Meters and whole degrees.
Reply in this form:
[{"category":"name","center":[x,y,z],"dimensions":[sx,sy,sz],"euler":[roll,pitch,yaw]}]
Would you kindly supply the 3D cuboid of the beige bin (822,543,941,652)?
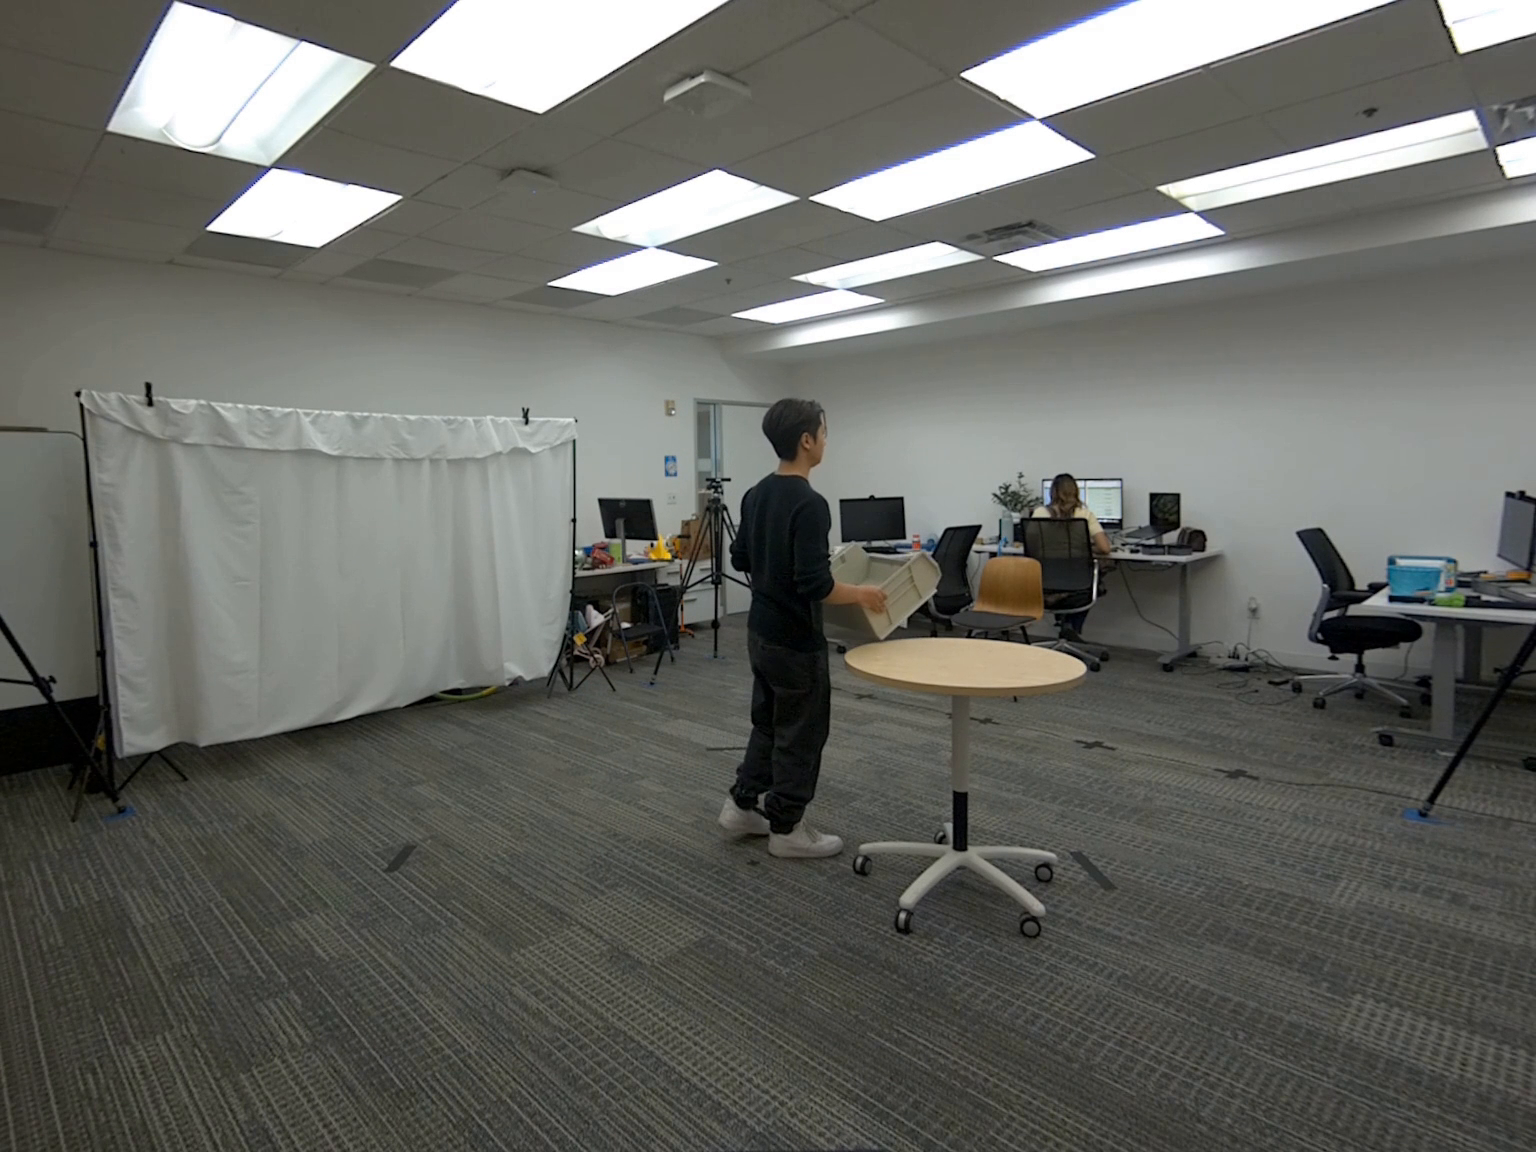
[{"category":"beige bin","center":[0.389,0.039,3.322],"dimensions":[0.375,0.184,0.435],"euler":[-38,25,-23]}]
